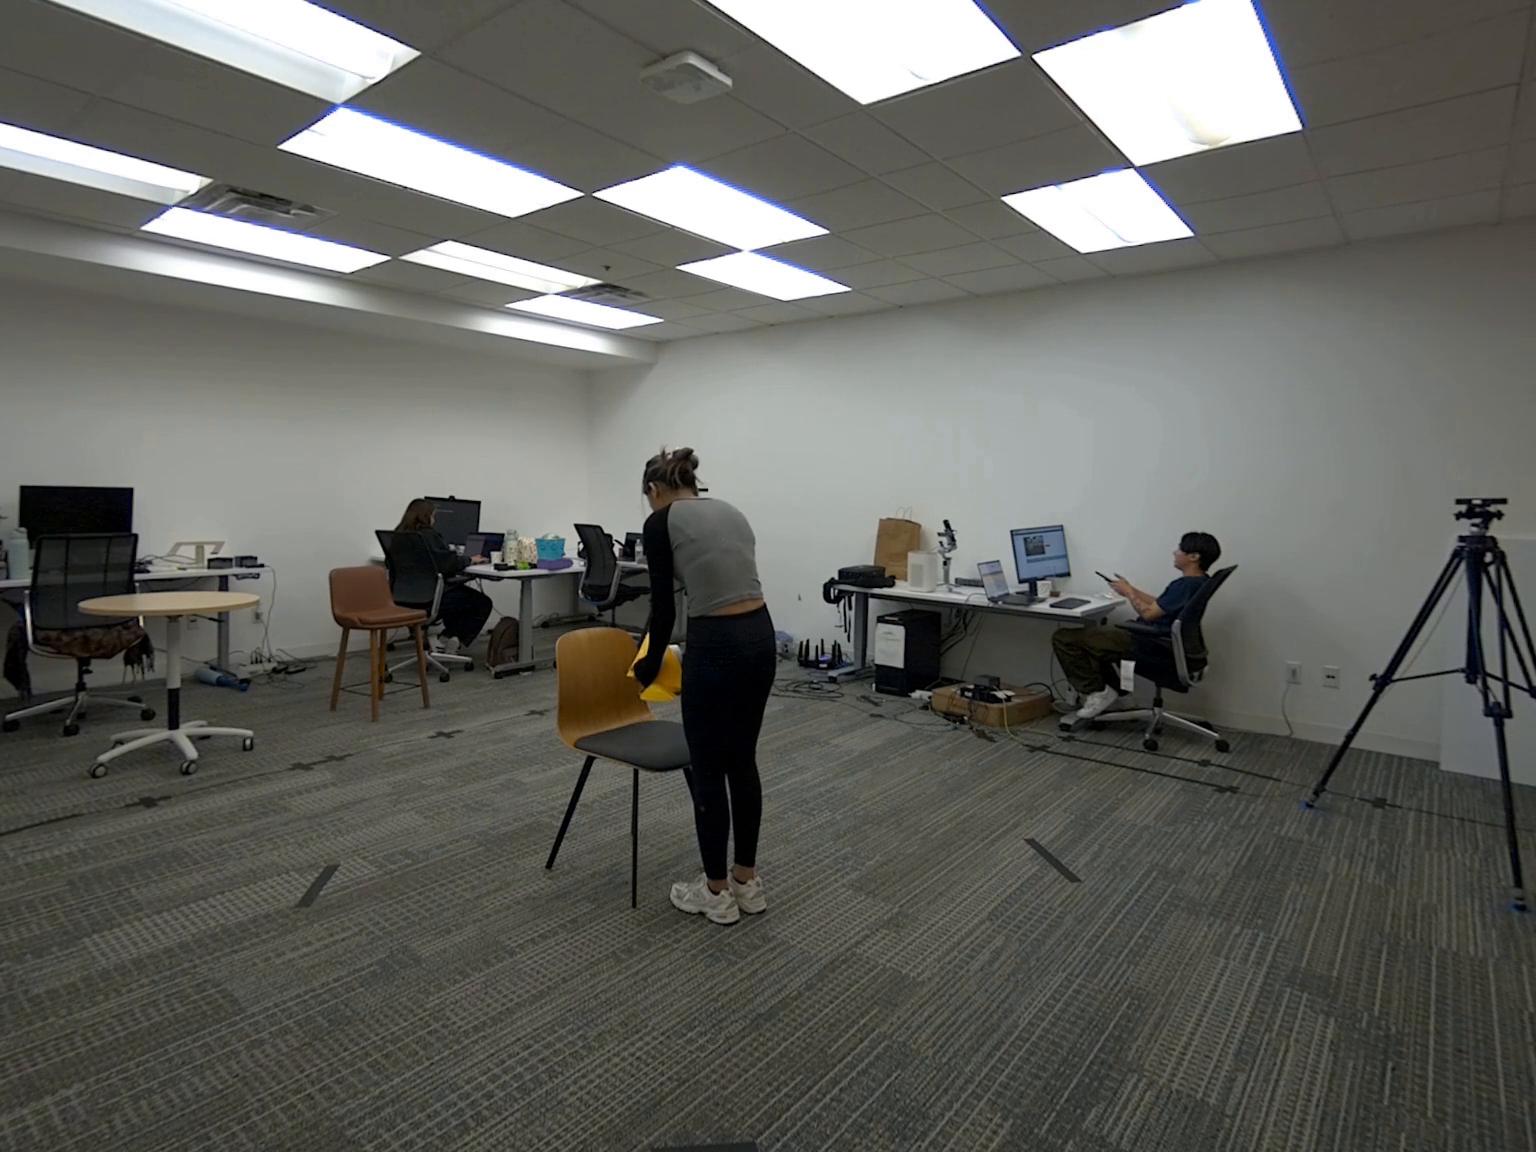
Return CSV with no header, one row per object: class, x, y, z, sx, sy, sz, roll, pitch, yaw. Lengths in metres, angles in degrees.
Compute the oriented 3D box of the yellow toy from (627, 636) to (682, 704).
yellow toy,-0.370,0.302,2.987,0.199,0.230,0.199,-1,4,37
